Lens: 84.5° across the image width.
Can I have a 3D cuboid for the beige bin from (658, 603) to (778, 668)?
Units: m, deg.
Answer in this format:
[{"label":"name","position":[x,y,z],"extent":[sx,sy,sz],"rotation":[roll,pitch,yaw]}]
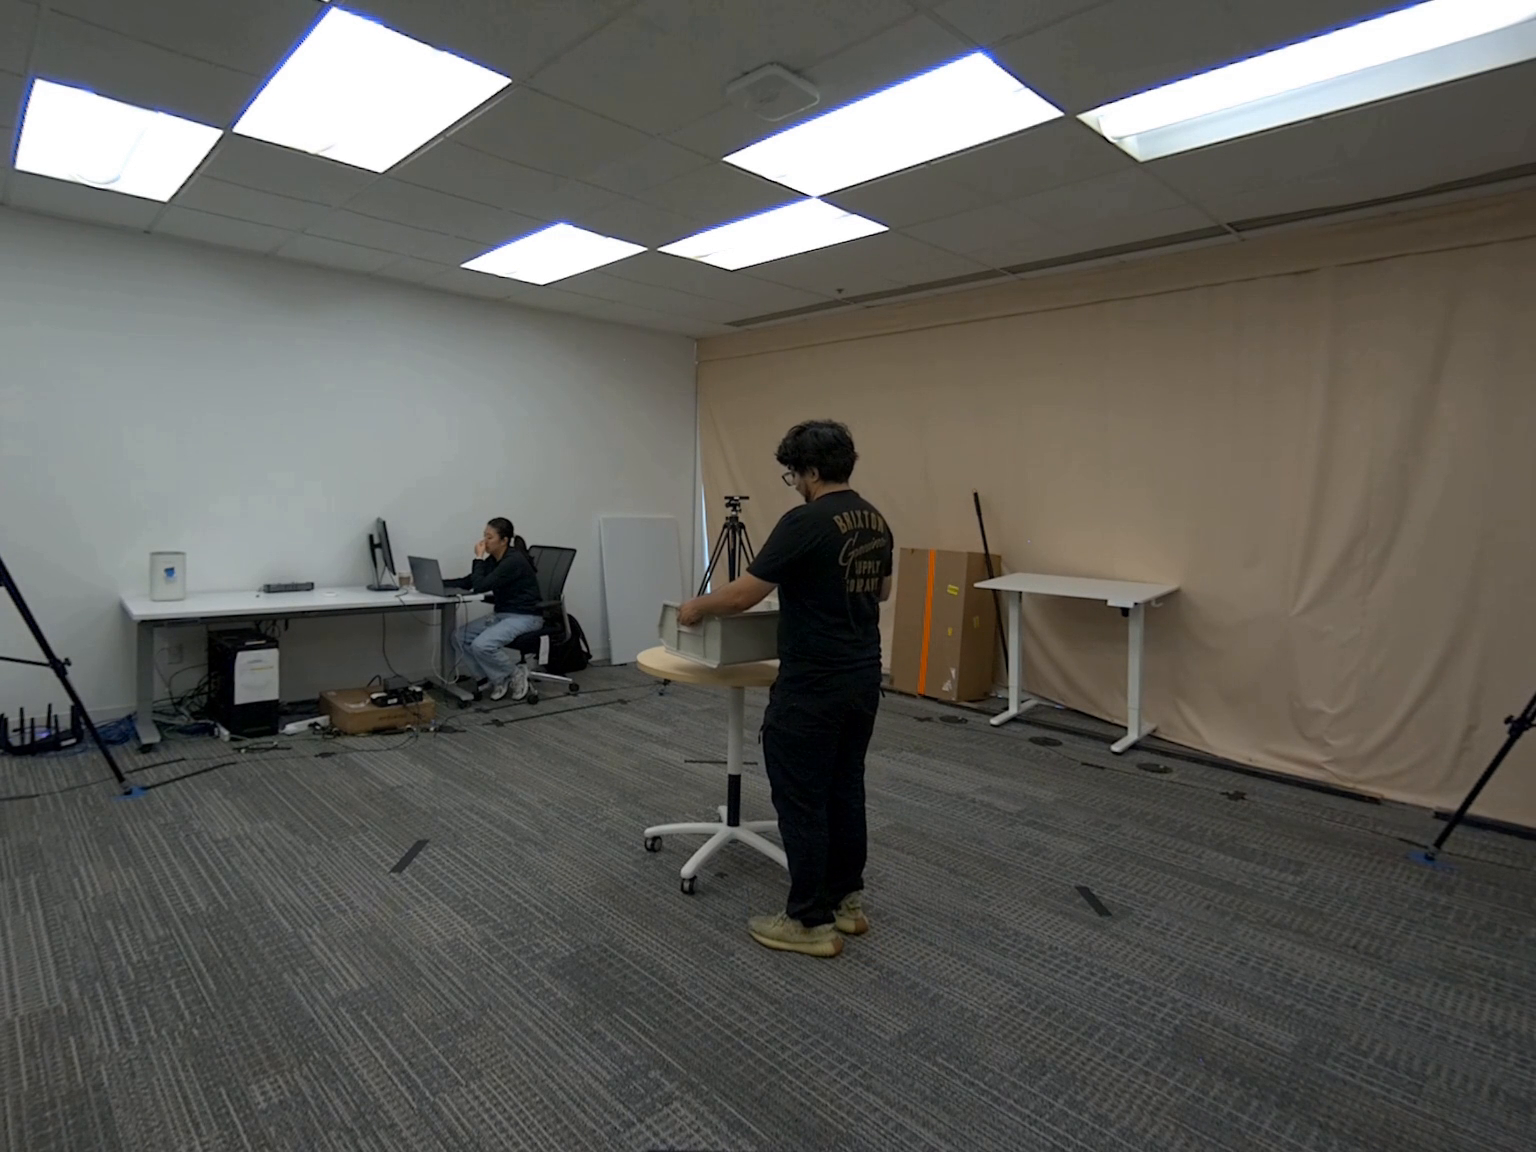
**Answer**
[{"label":"beige bin","position":[-0.115,0.186,2.935],"extent":[0.413,0.188,0.387],"rotation":[-1,7,-37]}]
